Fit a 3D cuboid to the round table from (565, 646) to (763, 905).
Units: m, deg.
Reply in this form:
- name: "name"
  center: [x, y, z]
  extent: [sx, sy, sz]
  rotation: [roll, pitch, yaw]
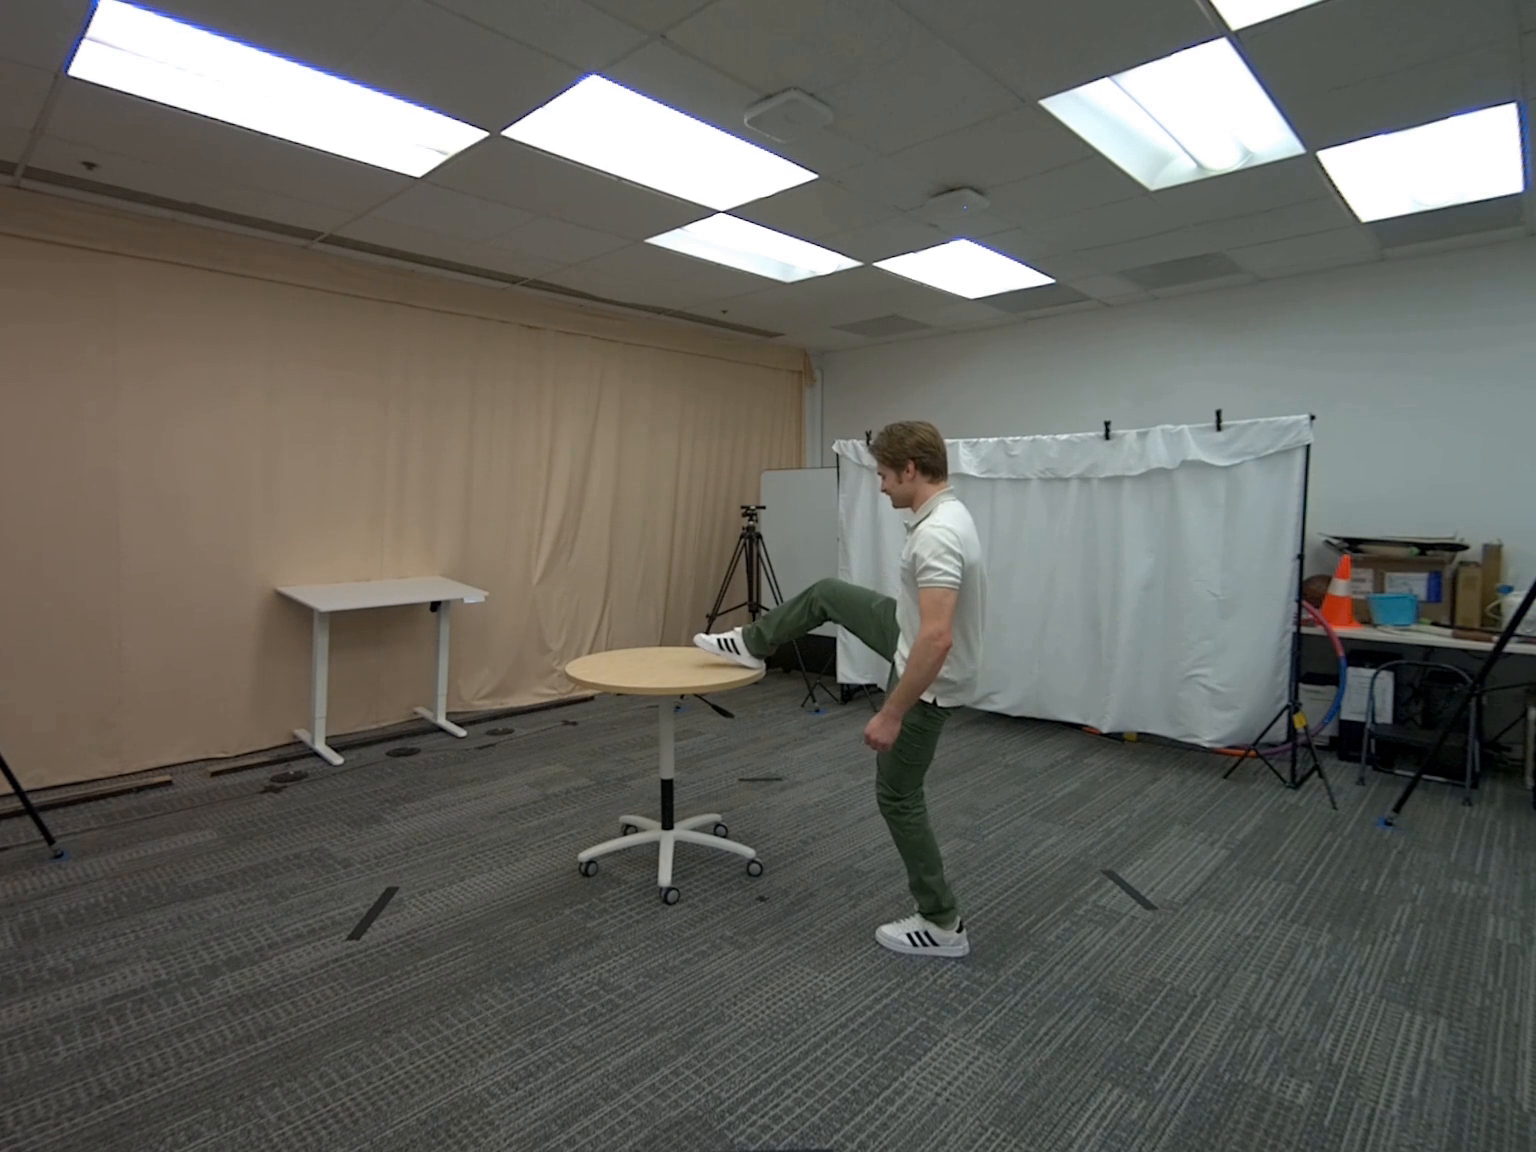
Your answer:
- name: "round table"
  center: [-0.383, 0.735, 3.264]
  extent: [0.763, 0.792, 0.767]
  rotation: [0, 4, -2]
